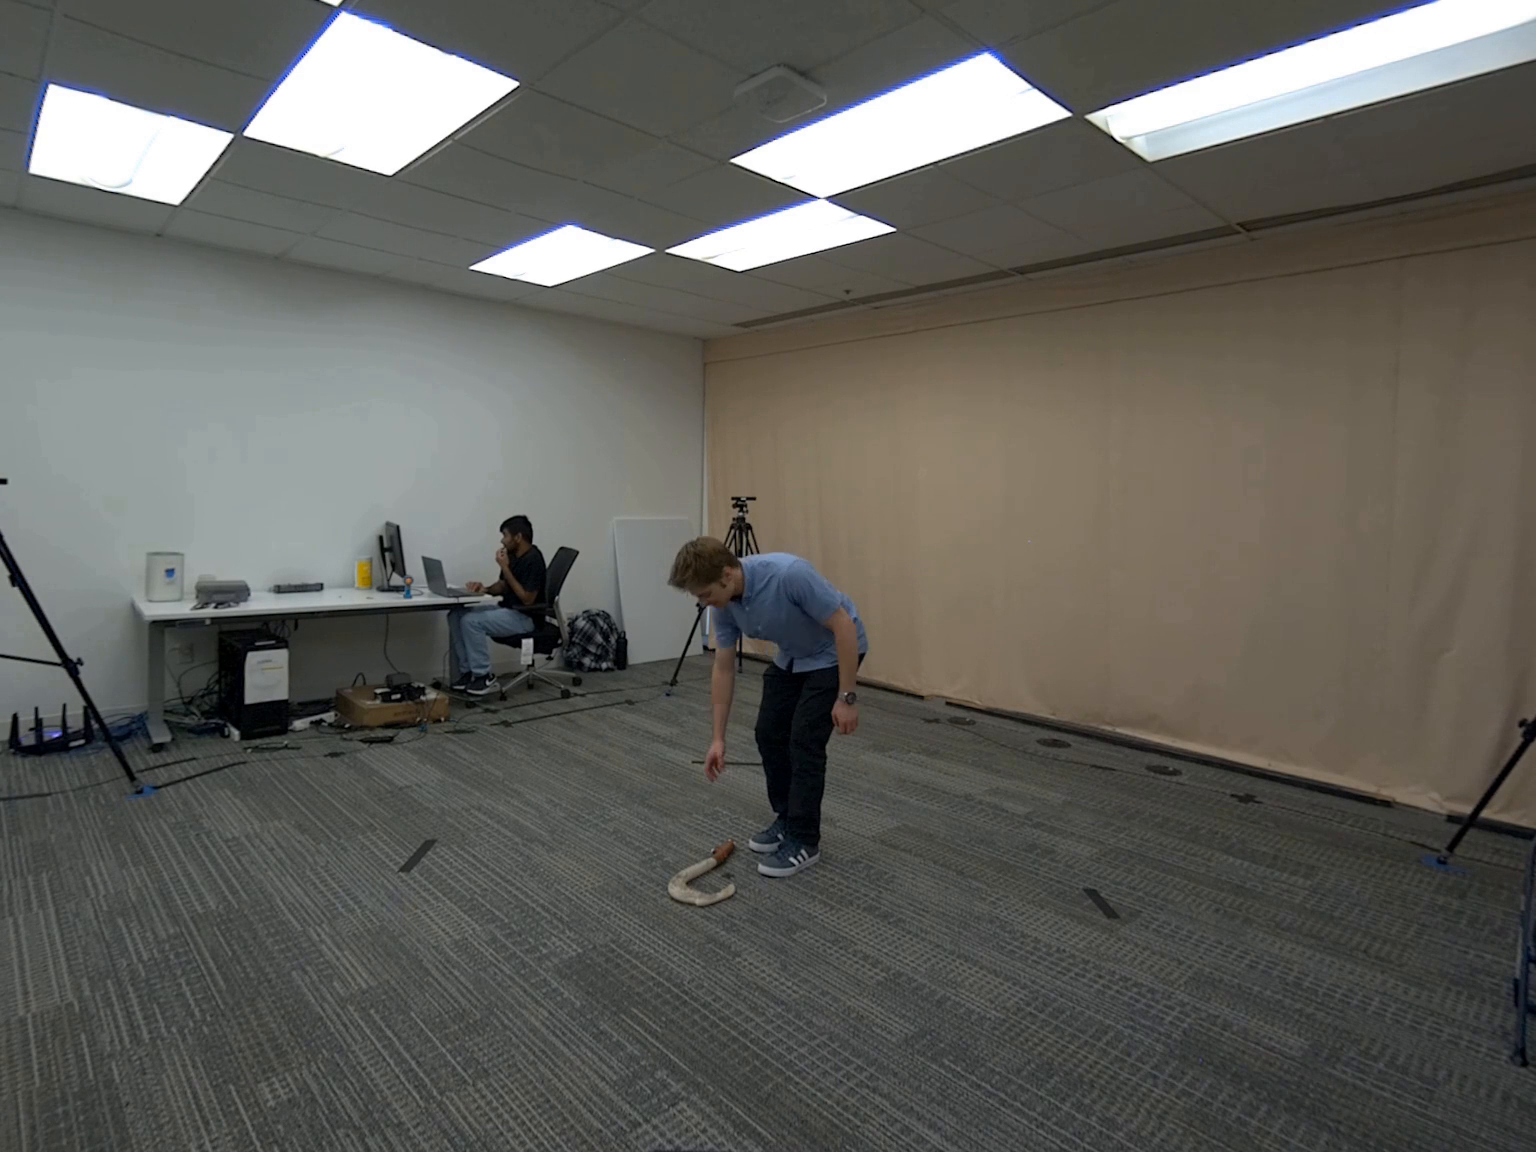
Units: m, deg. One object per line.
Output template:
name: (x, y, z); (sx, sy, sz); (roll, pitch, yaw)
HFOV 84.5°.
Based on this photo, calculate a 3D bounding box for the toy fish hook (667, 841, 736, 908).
toy fish hook: (-0.191, 1.093, 3.101); (0.229, 0.048, 0.499); (12, 9, 21)
